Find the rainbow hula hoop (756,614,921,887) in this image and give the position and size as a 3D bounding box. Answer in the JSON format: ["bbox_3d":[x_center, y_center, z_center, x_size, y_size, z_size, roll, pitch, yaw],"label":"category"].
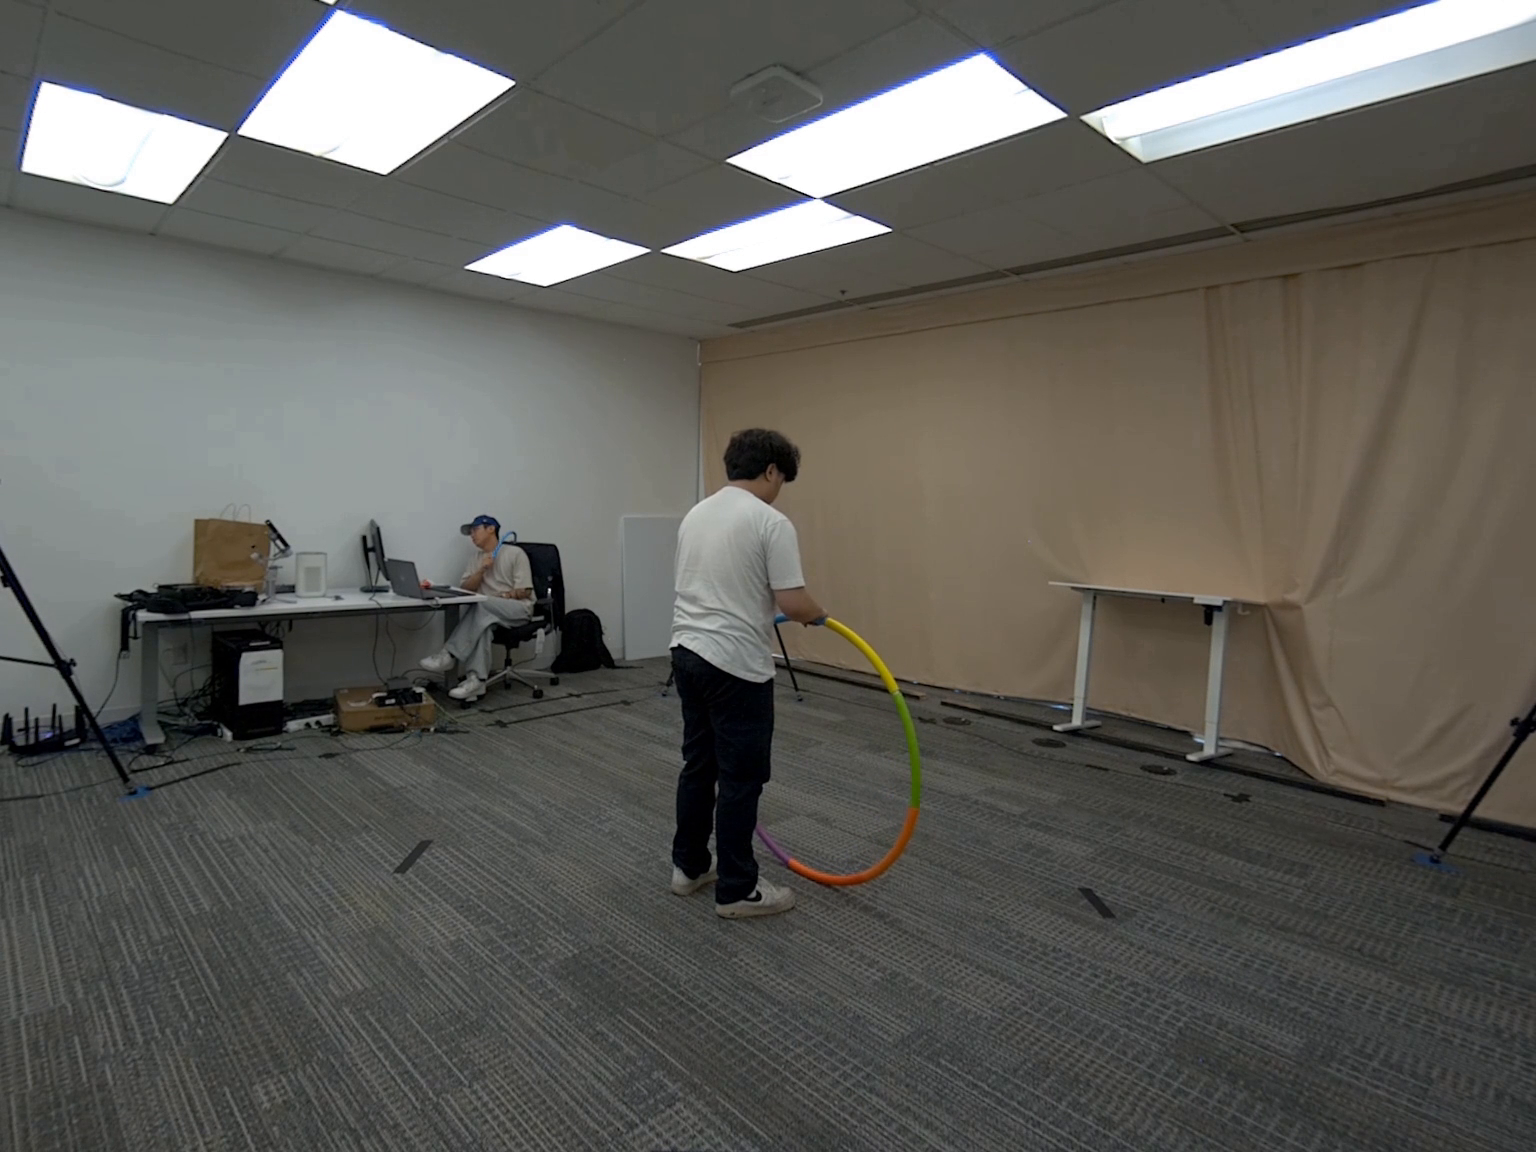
[{"bbox_3d":[0.143,0.627,3.082,0.050,0.982,1.011,-3,6,-42],"label":"rainbow hula hoop"}]
